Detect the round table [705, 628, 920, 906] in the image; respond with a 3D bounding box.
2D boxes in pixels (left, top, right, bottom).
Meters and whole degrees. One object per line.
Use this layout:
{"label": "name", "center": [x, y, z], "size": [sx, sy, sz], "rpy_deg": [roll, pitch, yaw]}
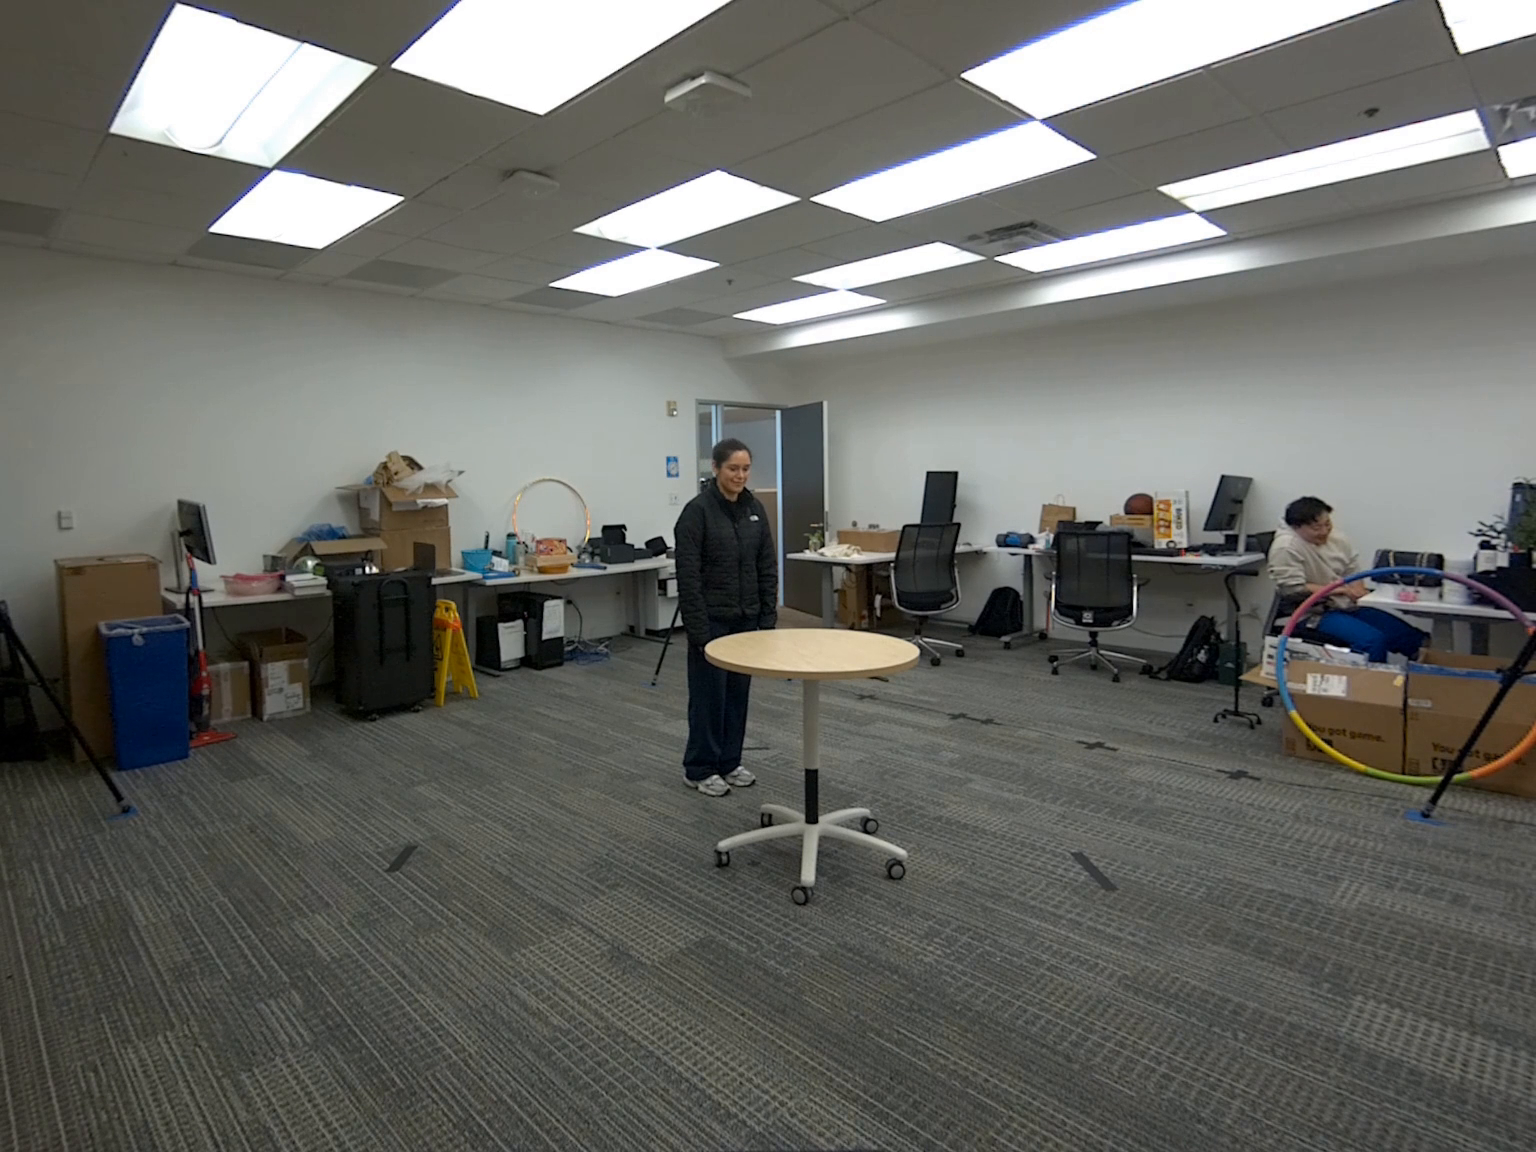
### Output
{"label": "round table", "center": [0.155, 0.645, 3.137], "size": [0.784, 0.783, 0.789], "rpy_deg": [0, 5, -2]}
